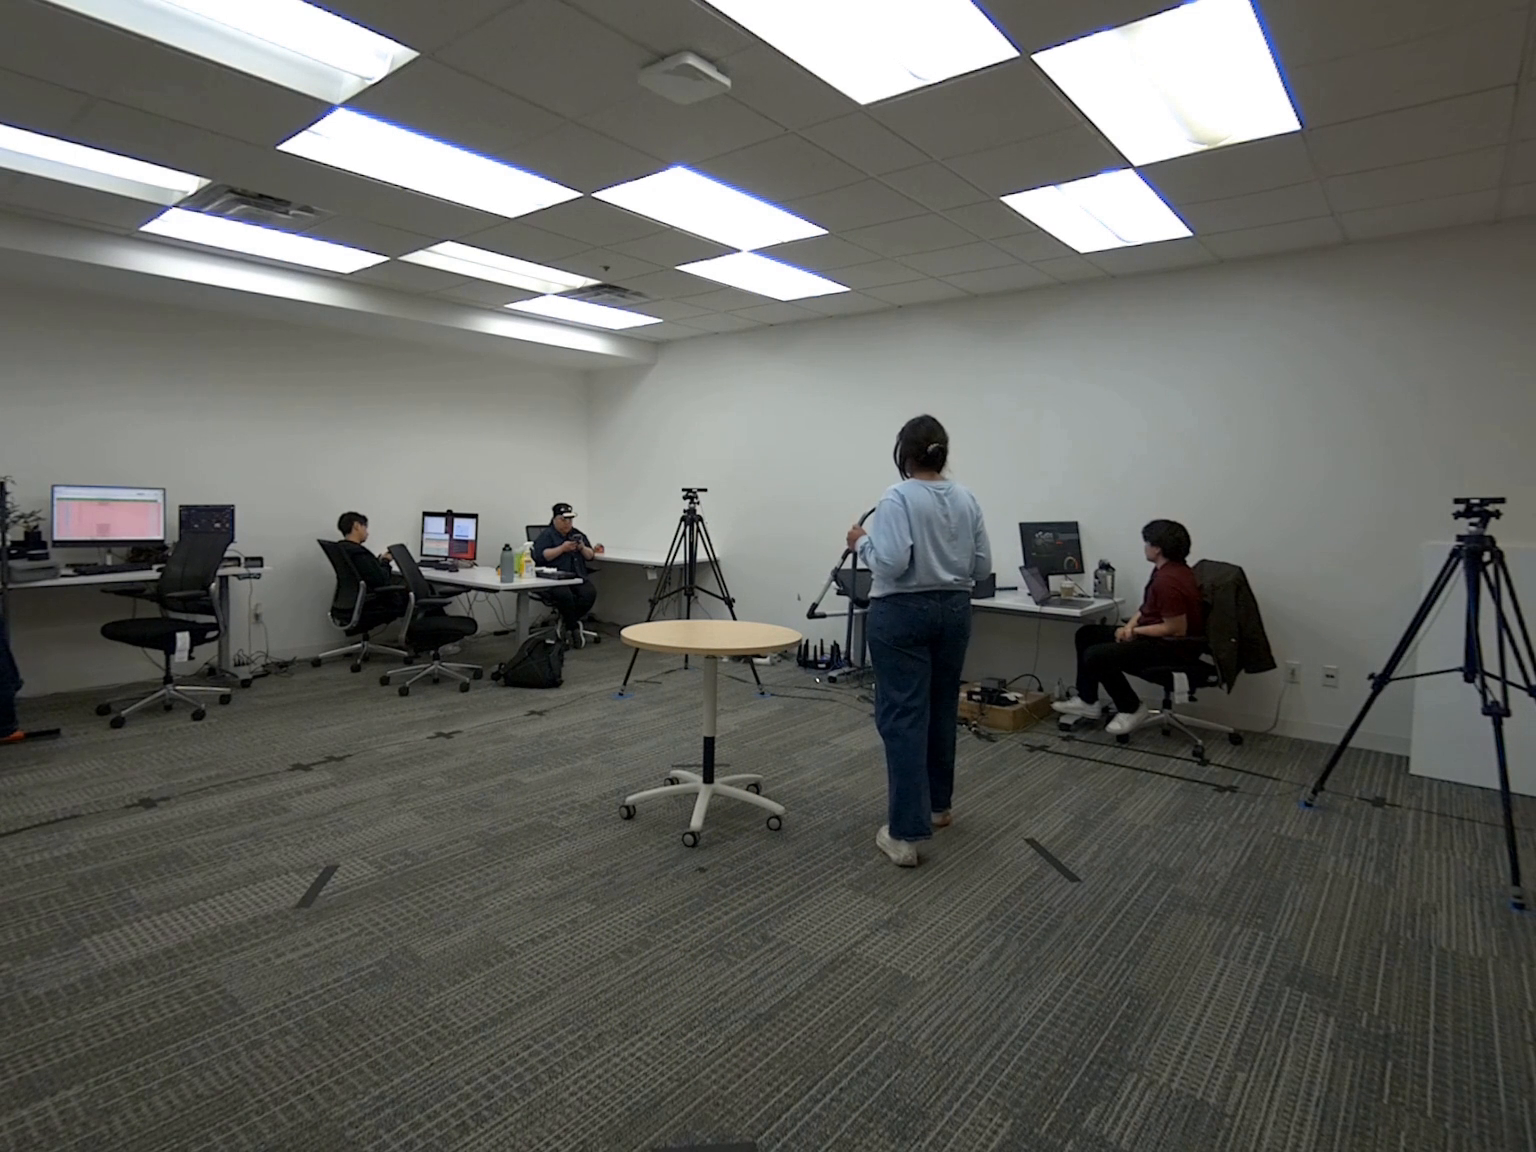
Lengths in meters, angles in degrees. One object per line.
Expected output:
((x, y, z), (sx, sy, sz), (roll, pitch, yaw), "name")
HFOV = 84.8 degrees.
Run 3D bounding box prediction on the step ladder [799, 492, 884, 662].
((0.484, -0.003, 3.581), (0.418, 0.597, 0.364), (0, 31, -32), "step ladder")
